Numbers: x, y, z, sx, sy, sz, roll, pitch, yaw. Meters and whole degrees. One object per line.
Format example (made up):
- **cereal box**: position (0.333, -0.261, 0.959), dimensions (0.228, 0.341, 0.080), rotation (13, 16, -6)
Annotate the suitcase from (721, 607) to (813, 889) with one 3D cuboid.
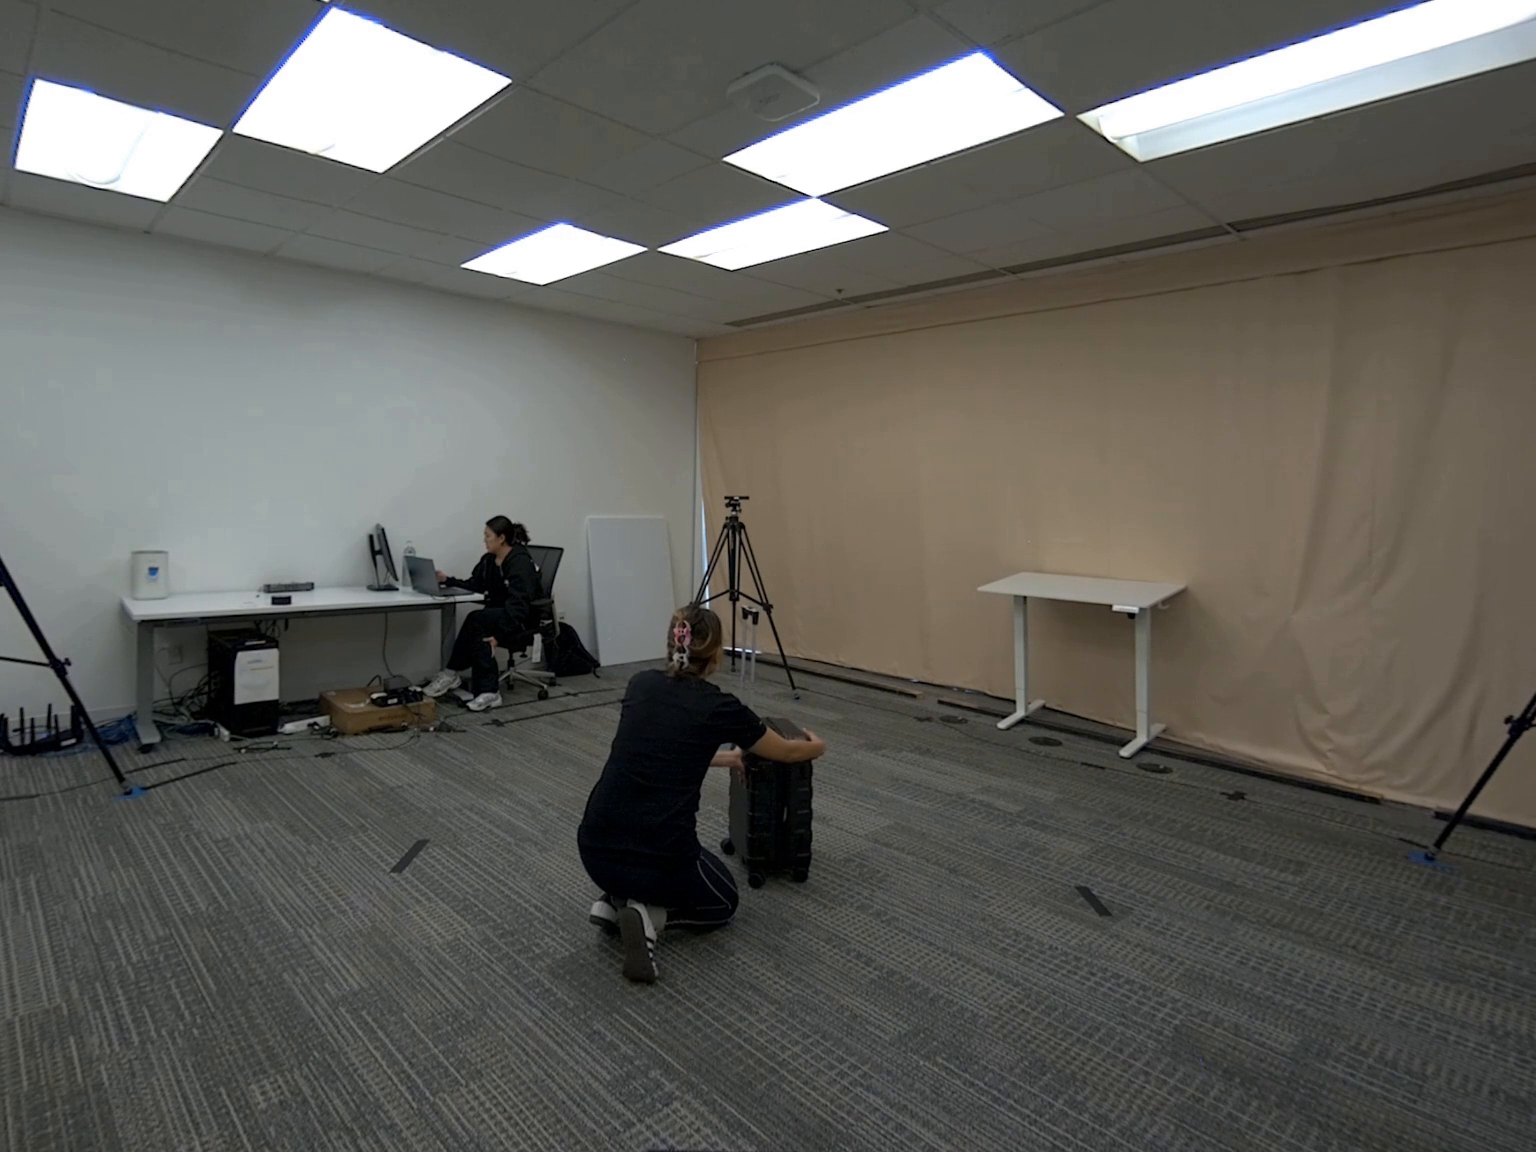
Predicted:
- **suitcase**: position (0.007, 0.629, 3.171), dimensions (0.254, 0.977, 0.388), rotation (2, 3, -12)
